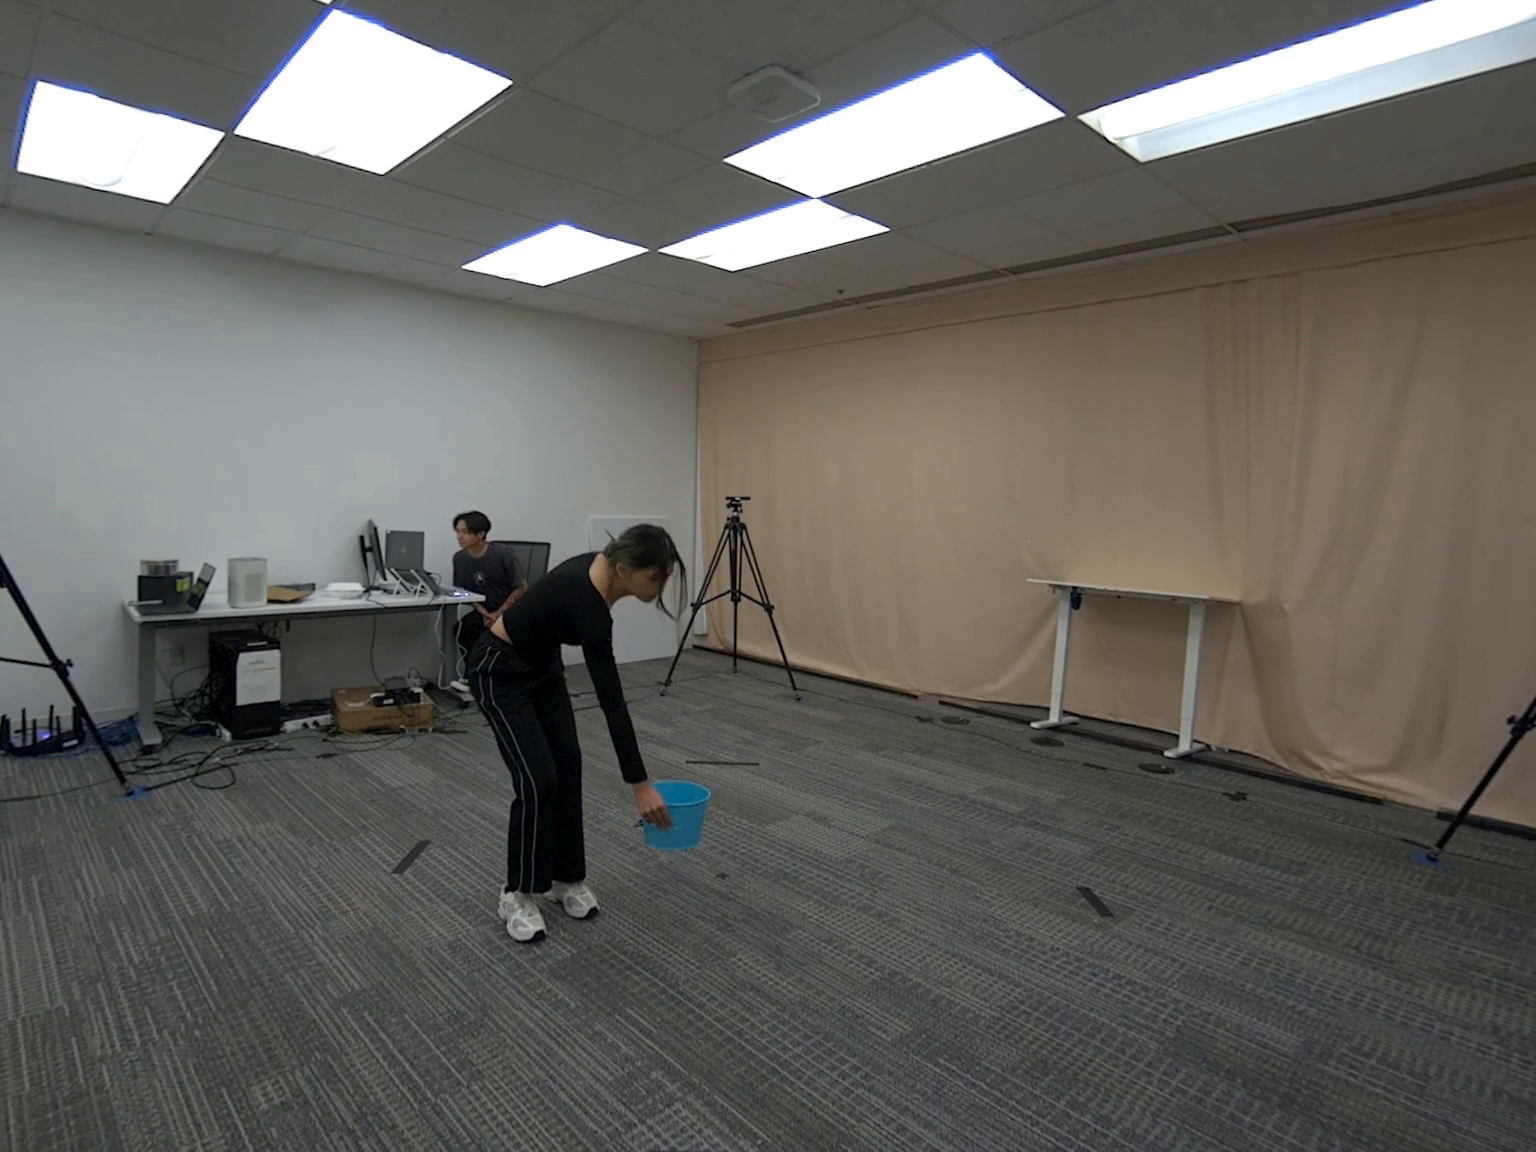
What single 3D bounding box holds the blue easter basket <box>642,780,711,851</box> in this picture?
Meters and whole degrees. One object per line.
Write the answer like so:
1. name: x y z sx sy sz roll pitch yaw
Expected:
1. blue easter basket: -0.332 0.778 2.706 0.243 0.155 0.244 6 4 -2
